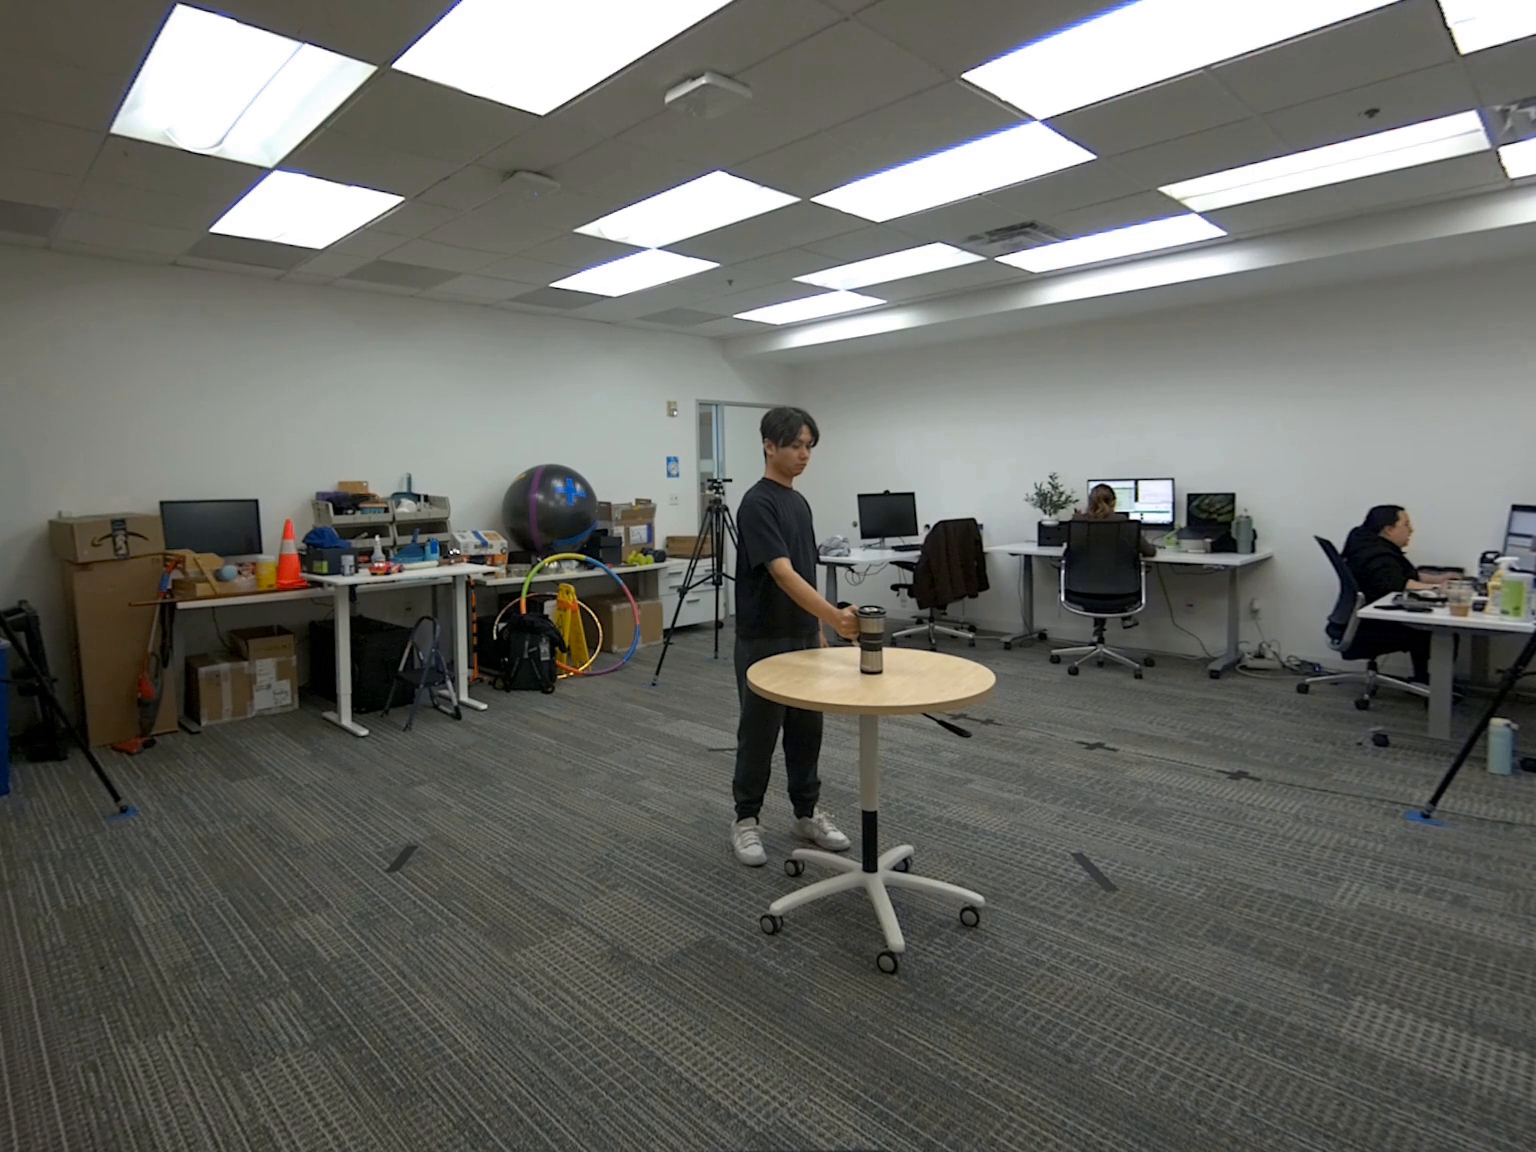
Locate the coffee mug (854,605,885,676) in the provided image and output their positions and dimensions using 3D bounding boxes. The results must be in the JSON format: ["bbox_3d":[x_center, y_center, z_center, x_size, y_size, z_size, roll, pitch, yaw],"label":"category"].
[{"bbox_3d":[0.325,0.204,2.690,0.086,0.201,0.126,-9,13,-30],"label":"coffee mug"}]
